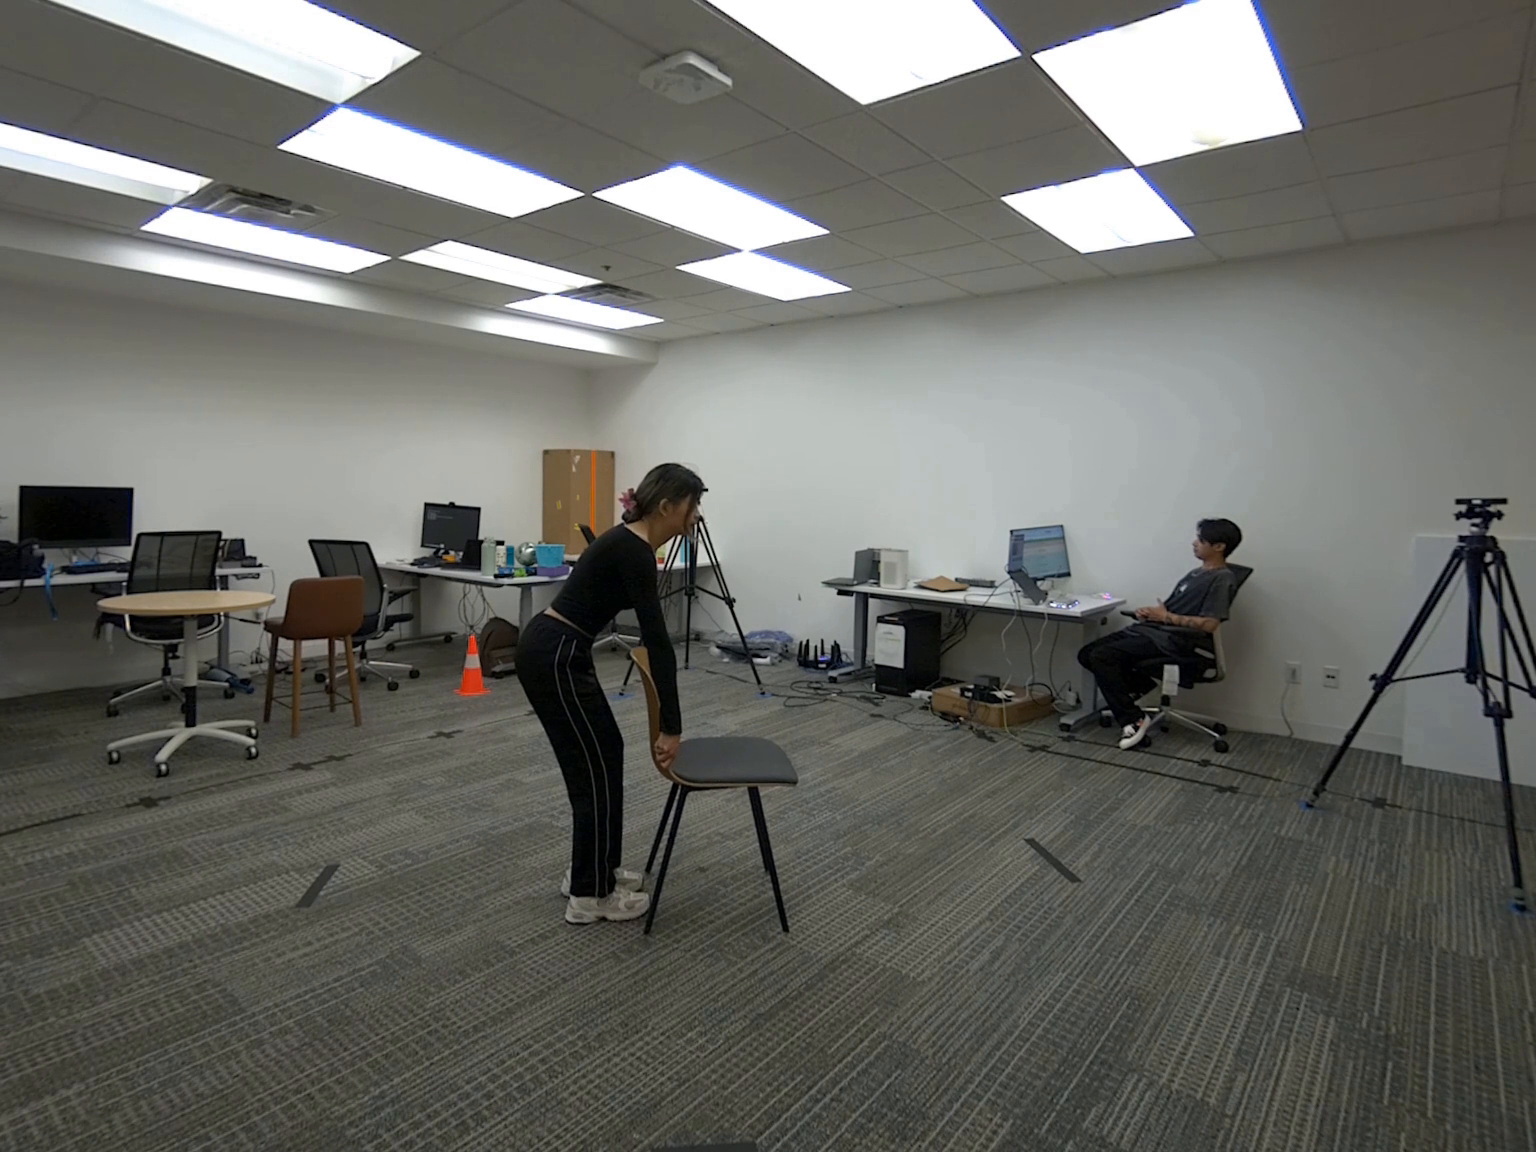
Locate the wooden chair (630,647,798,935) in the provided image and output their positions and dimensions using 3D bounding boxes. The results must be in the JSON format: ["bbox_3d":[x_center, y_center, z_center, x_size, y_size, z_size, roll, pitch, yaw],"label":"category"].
[{"bbox_3d":[-0.176,0.665,2.850,0.520,0.875,0.482,-3,3,-7],"label":"wooden chair"}]
